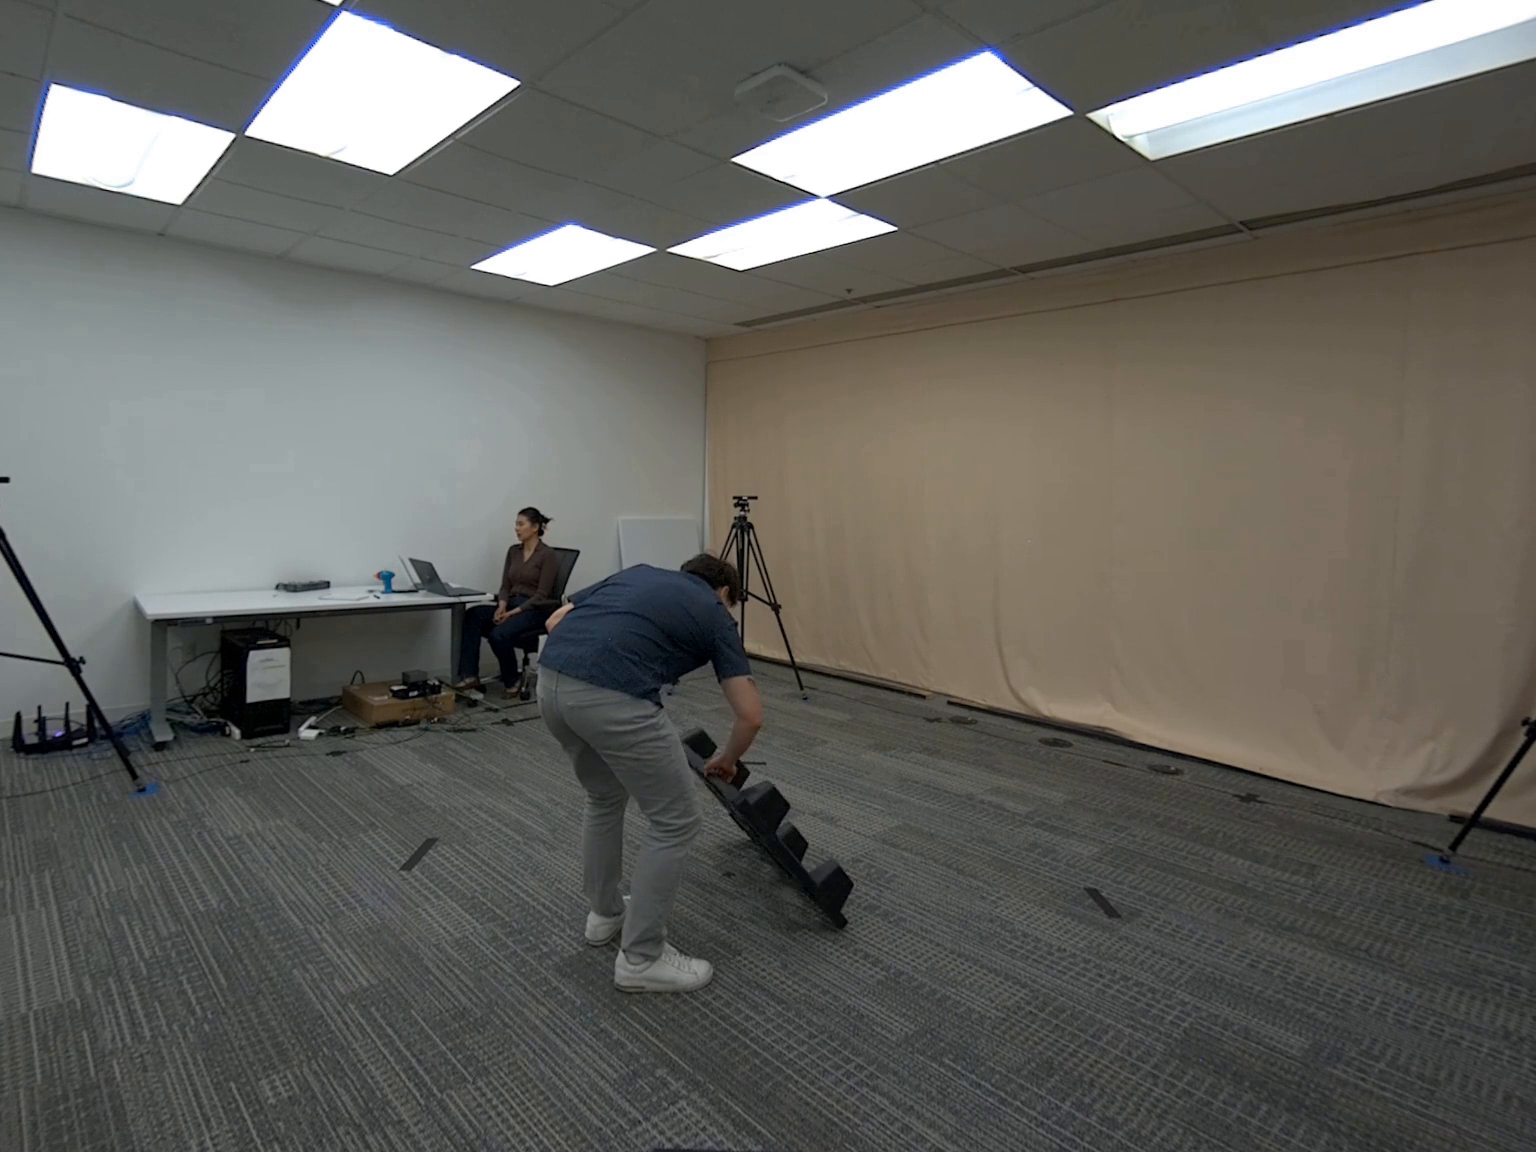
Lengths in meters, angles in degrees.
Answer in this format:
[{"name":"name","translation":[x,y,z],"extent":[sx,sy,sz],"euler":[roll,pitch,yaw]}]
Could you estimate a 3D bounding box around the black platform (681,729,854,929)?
[{"name":"black platform","translation":[-0.049,0.844,3.011],"extent":[0.143,0.595,0.821],"euler":[-40,18,-14]}]
